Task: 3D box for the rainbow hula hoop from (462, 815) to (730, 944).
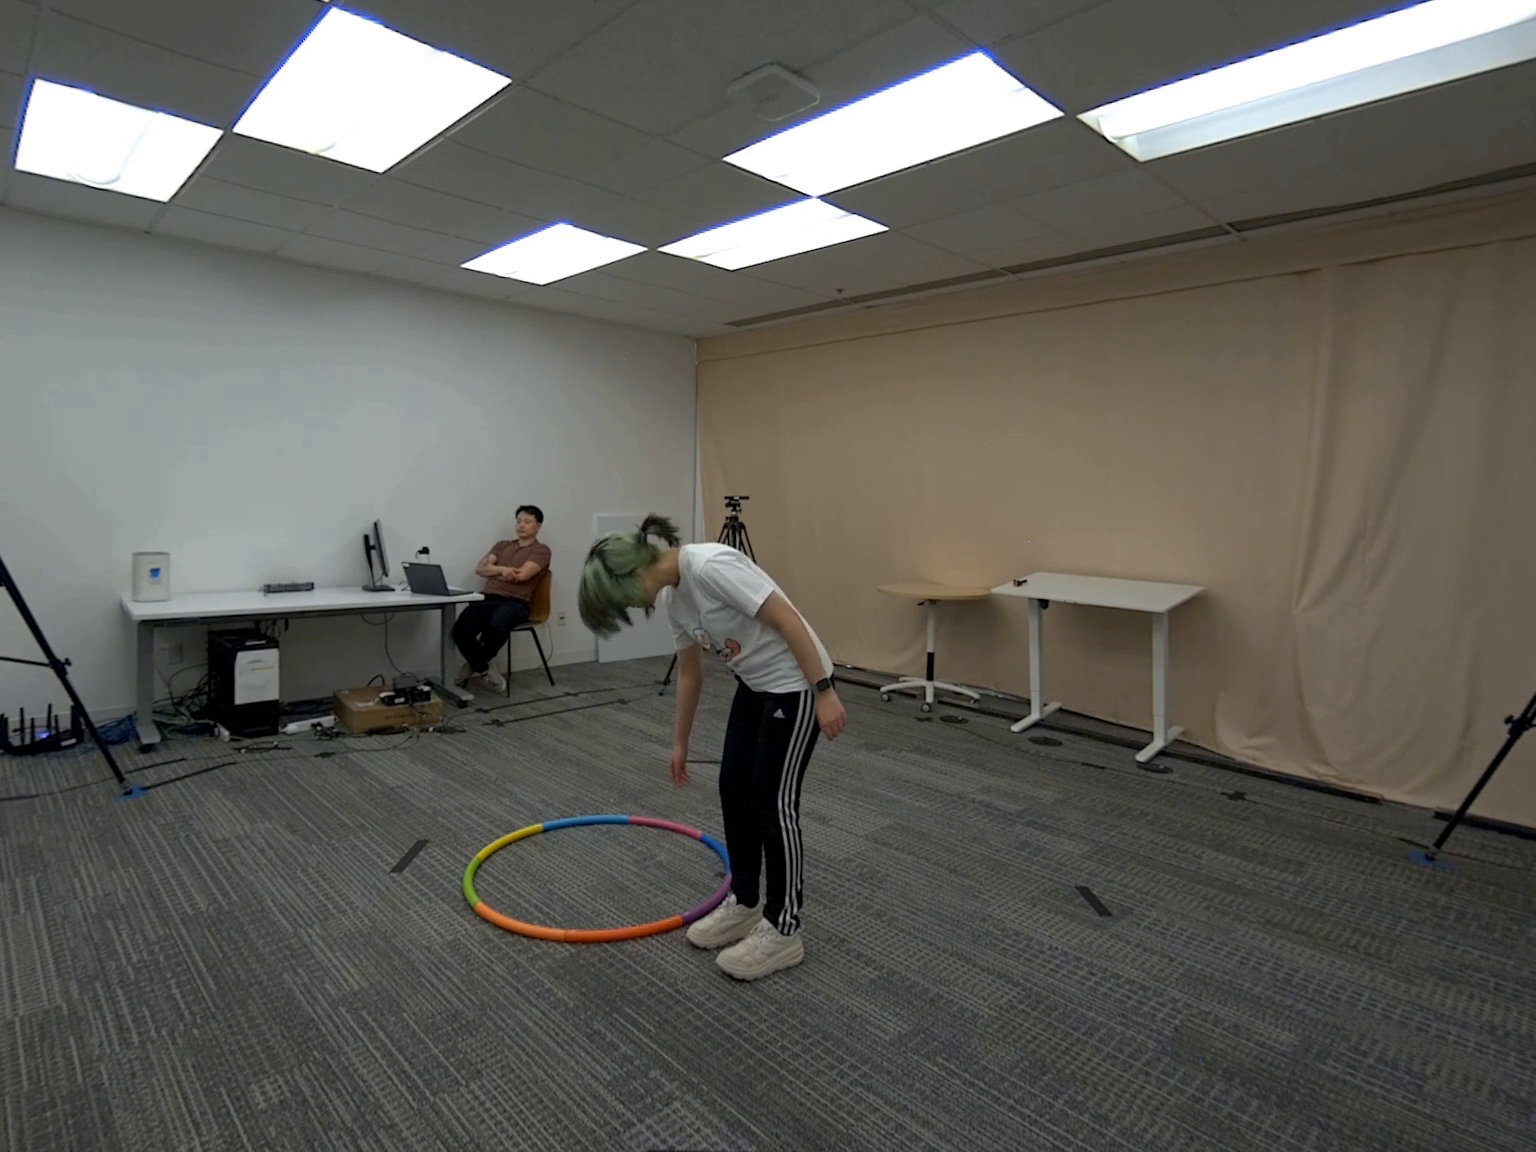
[{"bbox_3d":[-0.609,1.065,3.095,0.978,0.035,0.982,1,5,-1],"label":"rainbow hula hoop"}]
